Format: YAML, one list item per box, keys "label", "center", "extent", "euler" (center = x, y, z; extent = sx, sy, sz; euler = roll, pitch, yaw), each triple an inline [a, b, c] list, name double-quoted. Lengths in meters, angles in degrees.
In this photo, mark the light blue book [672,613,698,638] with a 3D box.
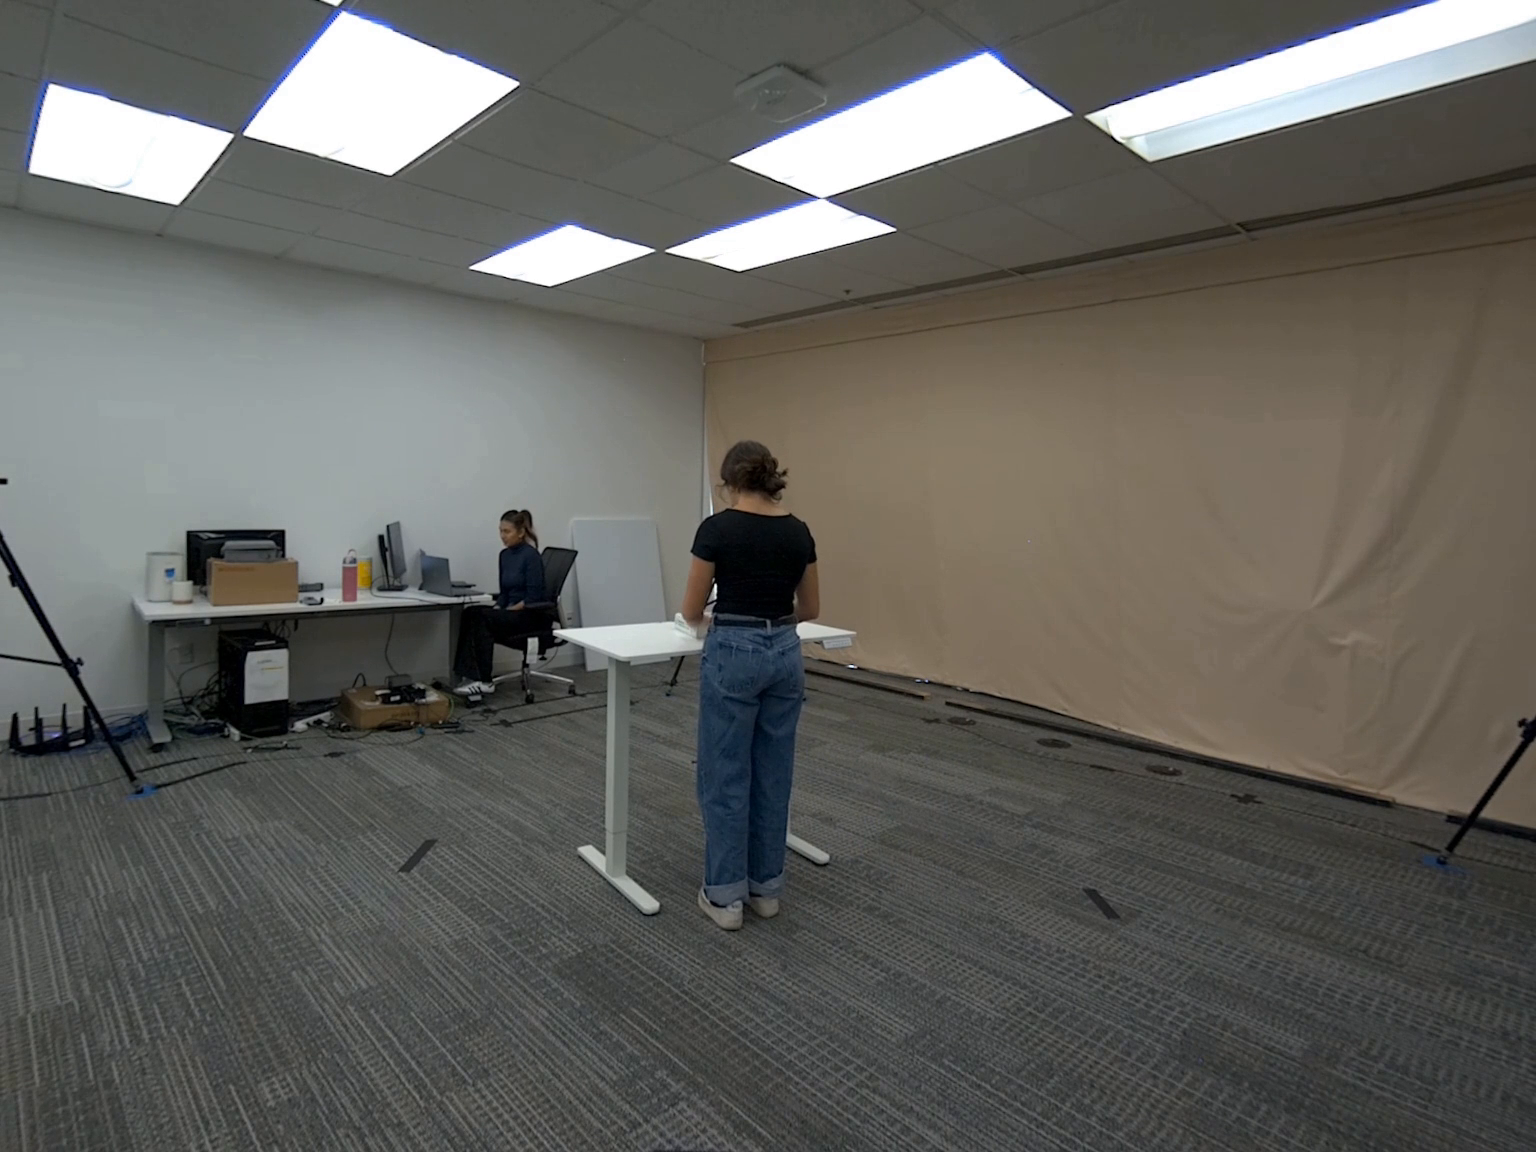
- label: "light blue book"
  center: [-0.221, 0.190, 3.203]
  extent: [0.188, 0.059, 0.266]
  euler: [-1, 7, -23]
